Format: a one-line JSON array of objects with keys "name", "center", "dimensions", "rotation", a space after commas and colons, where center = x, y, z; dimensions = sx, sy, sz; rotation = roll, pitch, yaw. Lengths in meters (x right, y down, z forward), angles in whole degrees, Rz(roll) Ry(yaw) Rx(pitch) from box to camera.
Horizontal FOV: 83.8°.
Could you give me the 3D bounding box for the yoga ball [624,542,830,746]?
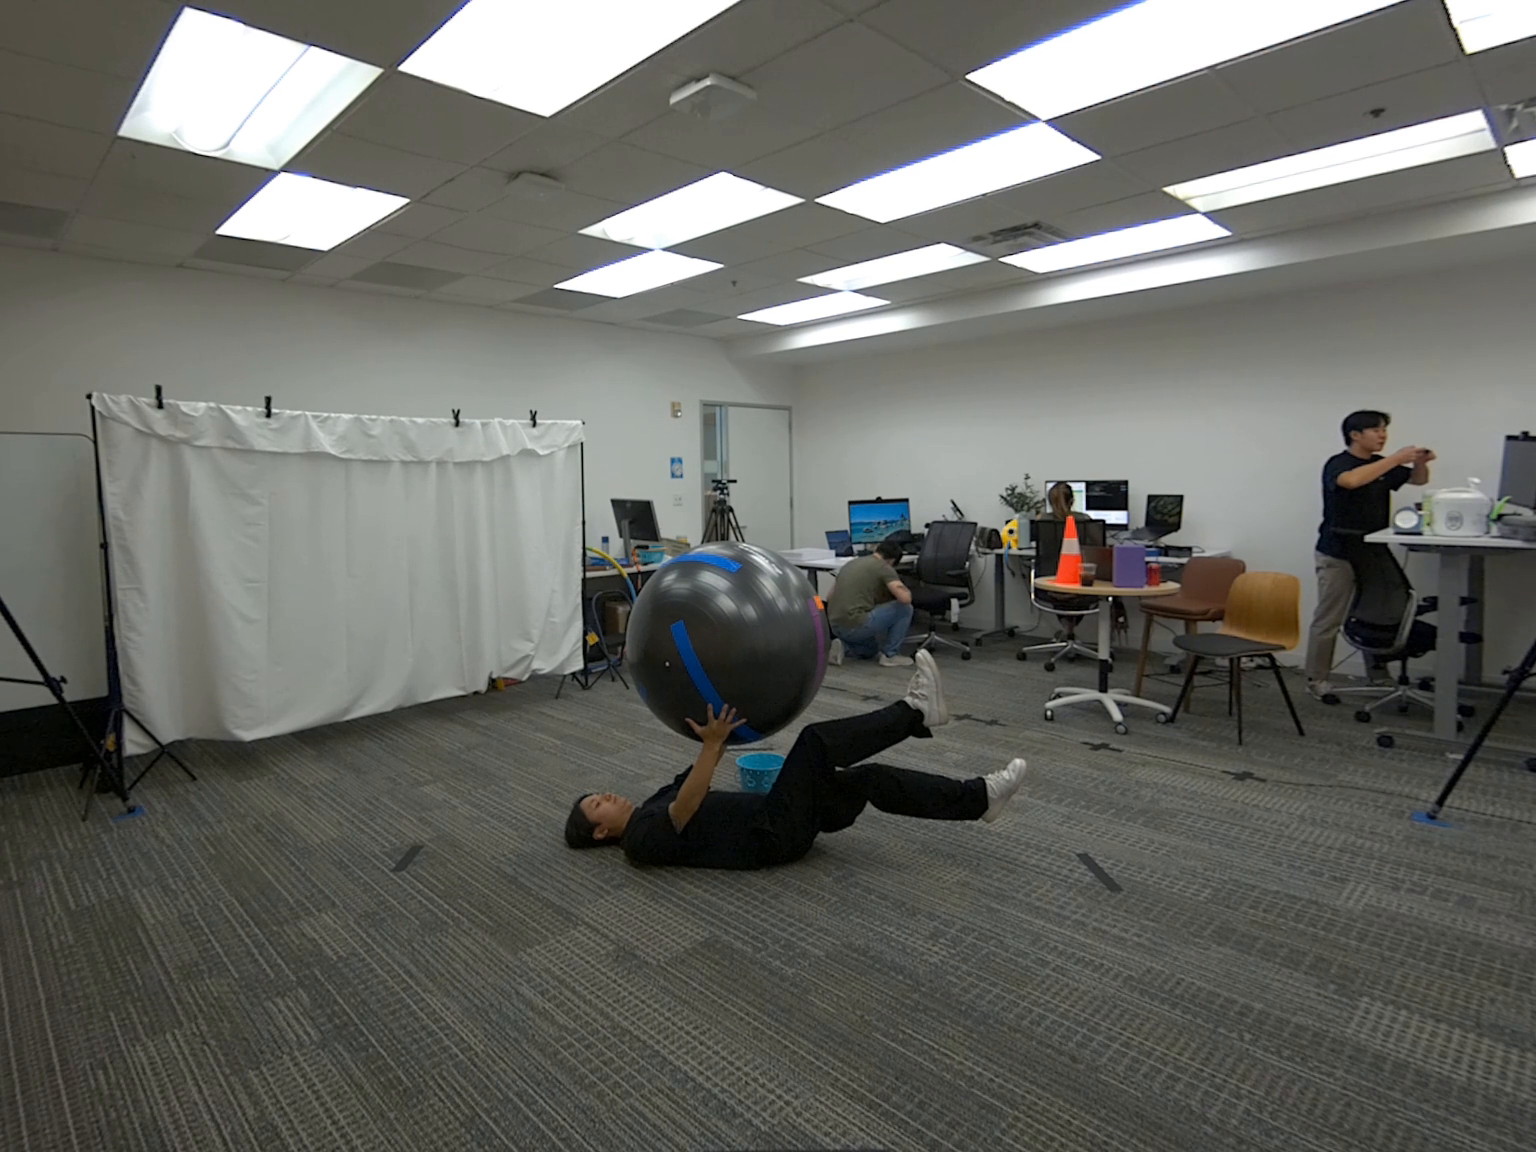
[{"name": "yoga ball", "center": [-0.155, 0.254, 3.204], "dimensions": [0.757, 0.755, 0.762], "rotation": [-1, 5, -2]}]
